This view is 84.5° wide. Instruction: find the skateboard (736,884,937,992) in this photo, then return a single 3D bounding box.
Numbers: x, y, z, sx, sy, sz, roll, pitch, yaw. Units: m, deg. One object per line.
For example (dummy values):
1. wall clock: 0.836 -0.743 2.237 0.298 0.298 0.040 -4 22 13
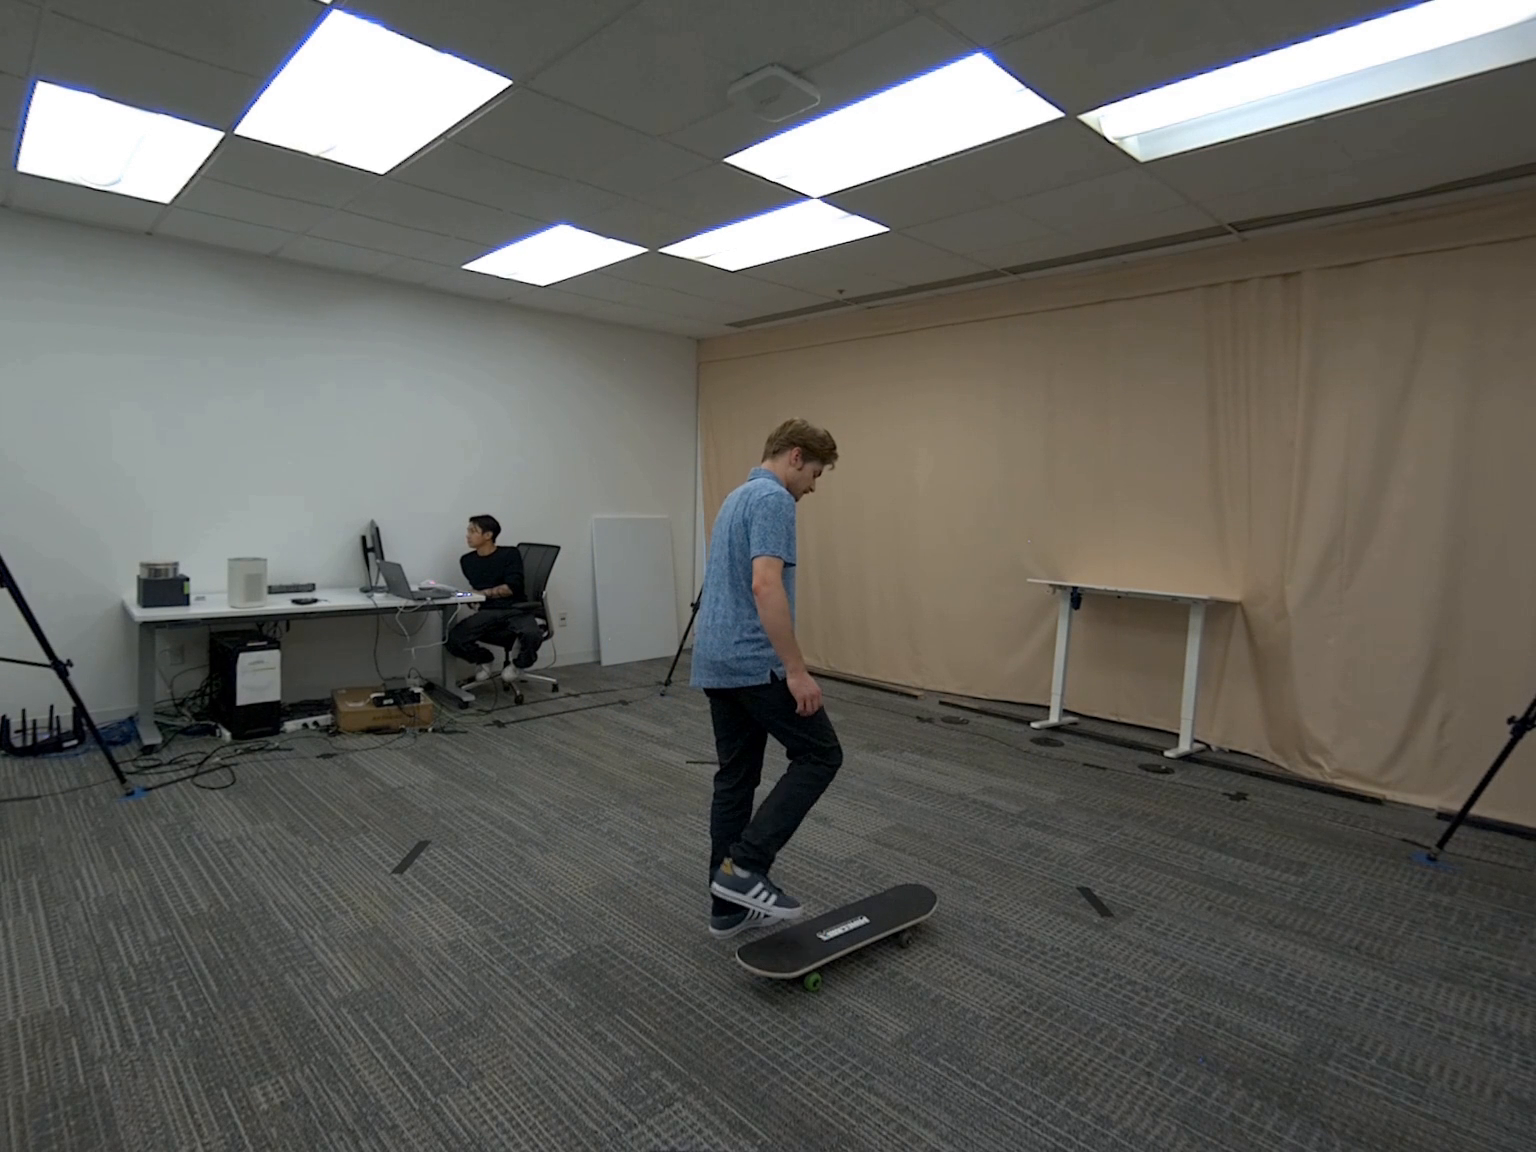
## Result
1. skateboard: 0.227 1.109 2.567 0.768 0.110 0.198 -3 6 -39
